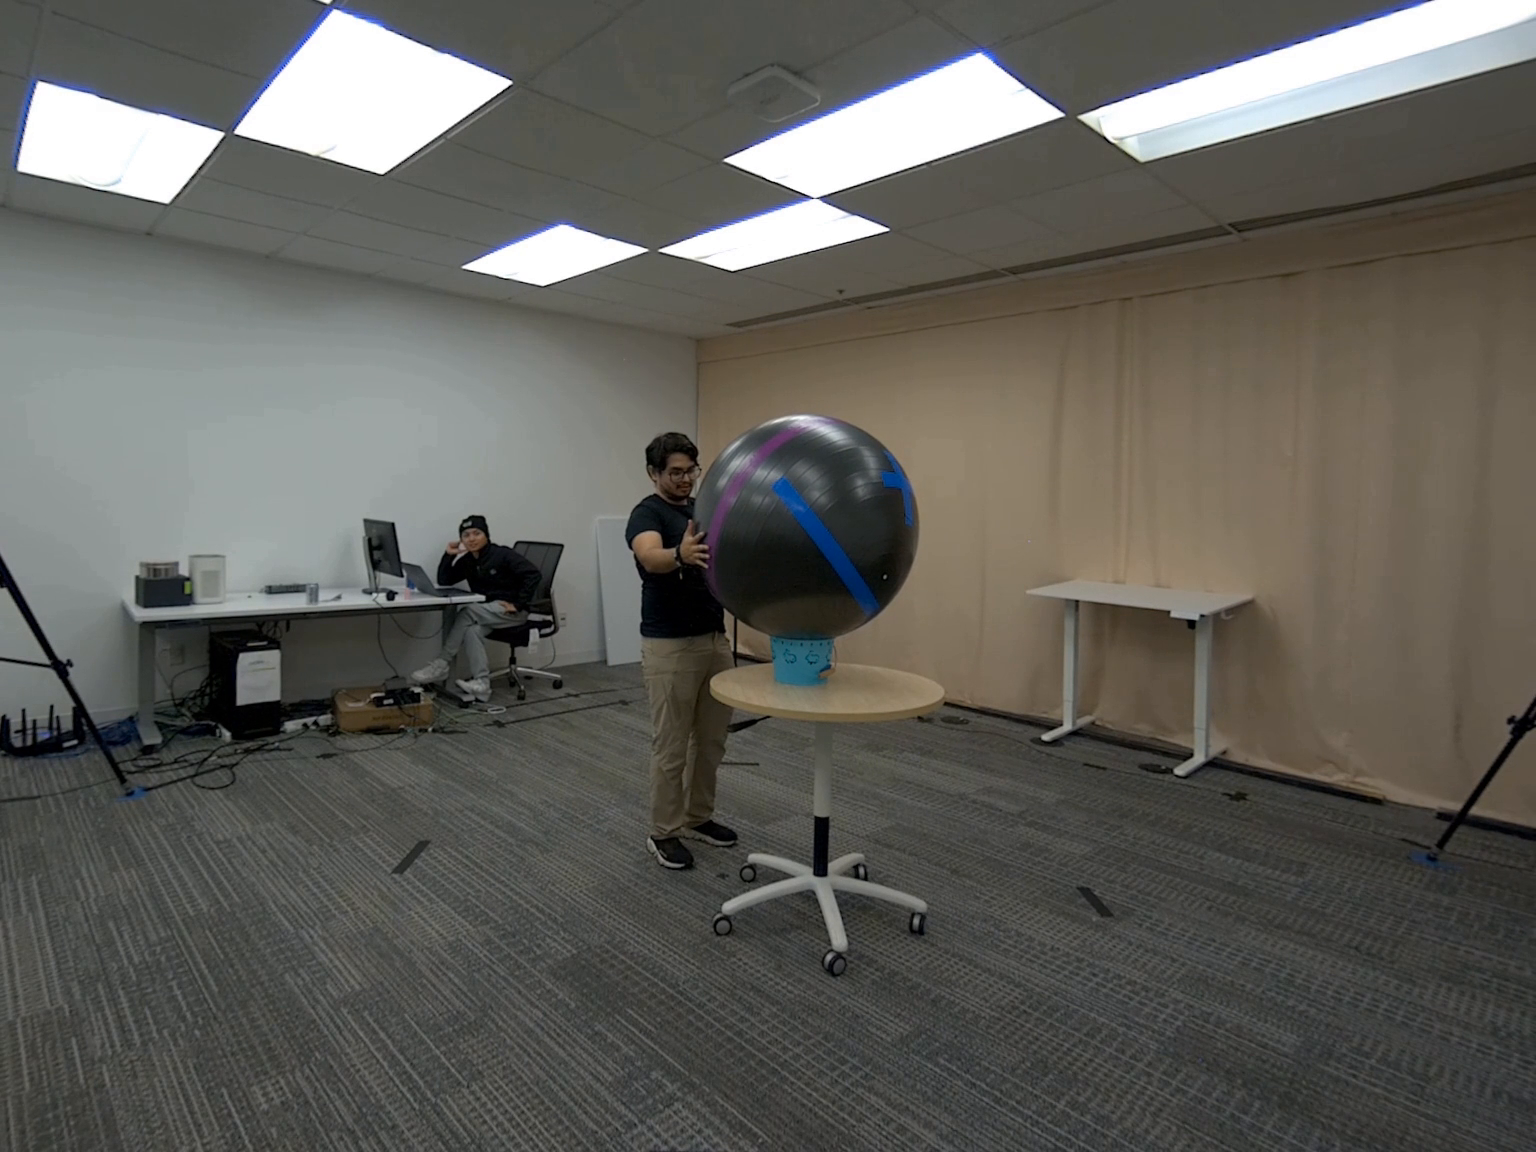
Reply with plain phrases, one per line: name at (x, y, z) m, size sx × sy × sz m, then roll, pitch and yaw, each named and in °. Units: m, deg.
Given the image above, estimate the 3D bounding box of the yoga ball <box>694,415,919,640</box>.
yoga ball at (0.117, -0.156, 2.835) m, size 0.757 × 0.756 × 0.761 m, roll 1°, pitch 4°, yaw -1°
